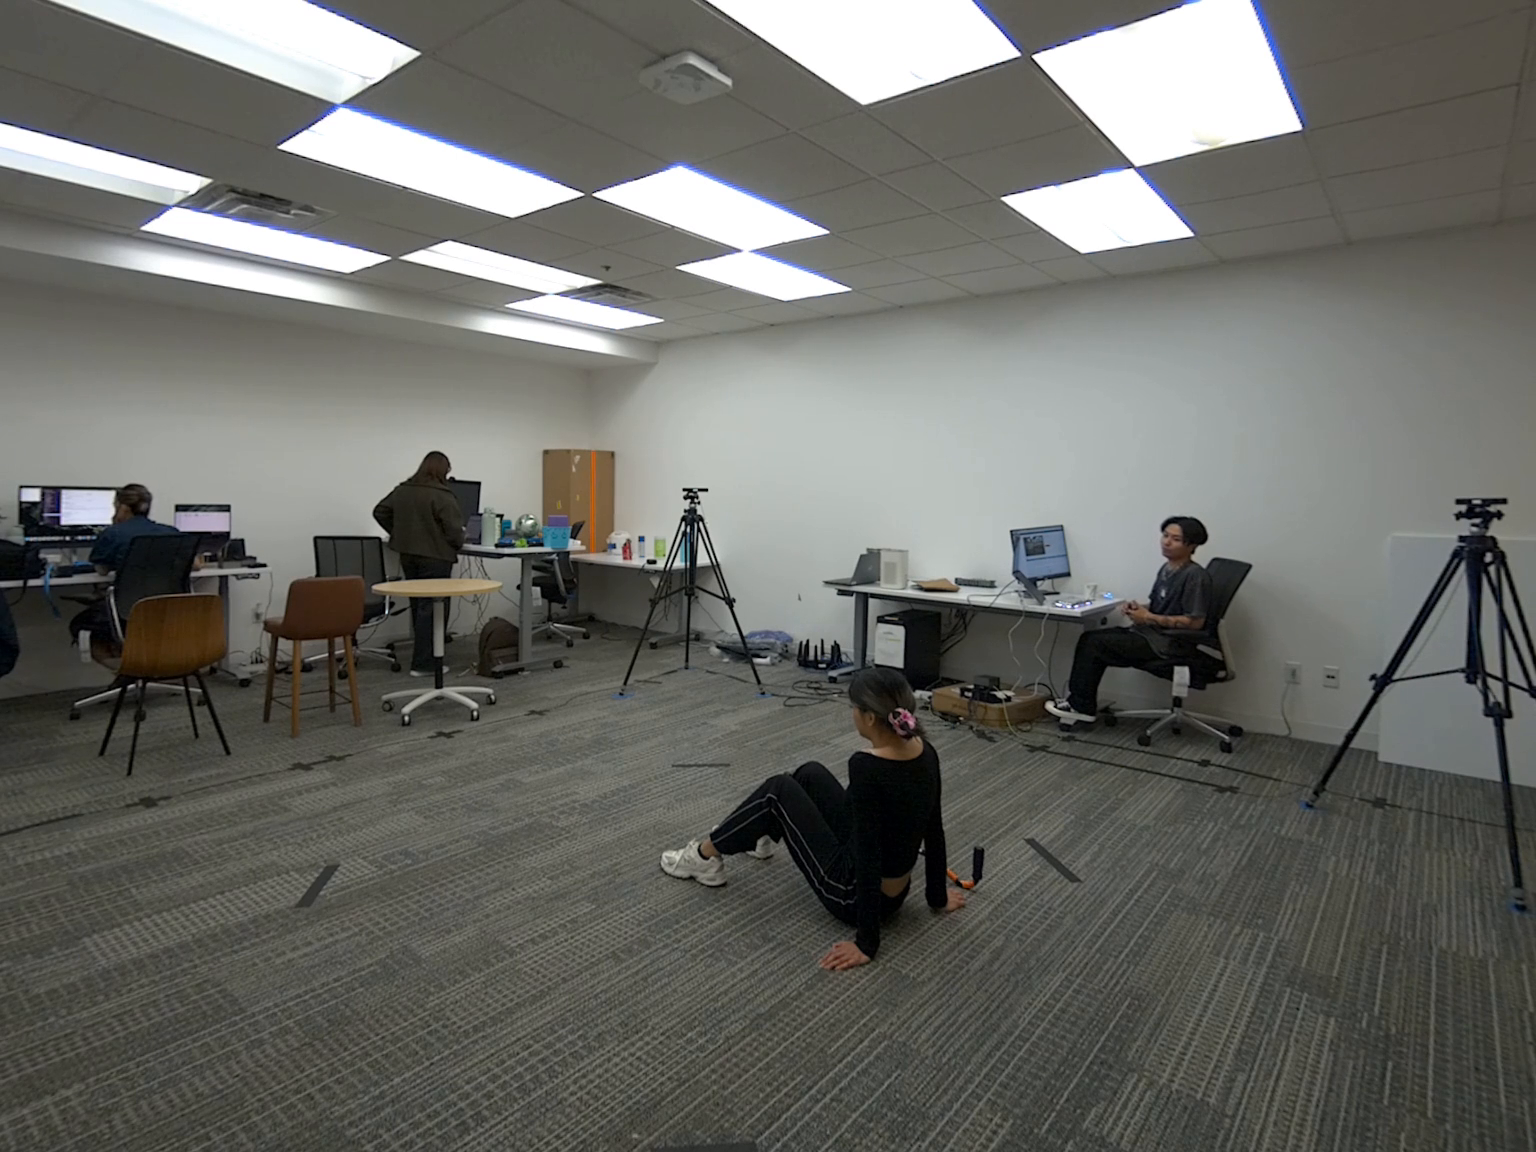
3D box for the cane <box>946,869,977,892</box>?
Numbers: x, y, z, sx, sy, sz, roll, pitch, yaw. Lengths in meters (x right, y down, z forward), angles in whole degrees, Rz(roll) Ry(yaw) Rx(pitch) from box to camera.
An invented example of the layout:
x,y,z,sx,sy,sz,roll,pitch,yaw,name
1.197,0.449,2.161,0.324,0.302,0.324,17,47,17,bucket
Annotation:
x,y,z,sx,sy,sz,roll,pitch,yaw,name
0.376,0.974,3.261,0.940,0.205,0.147,9,8,41,cane
